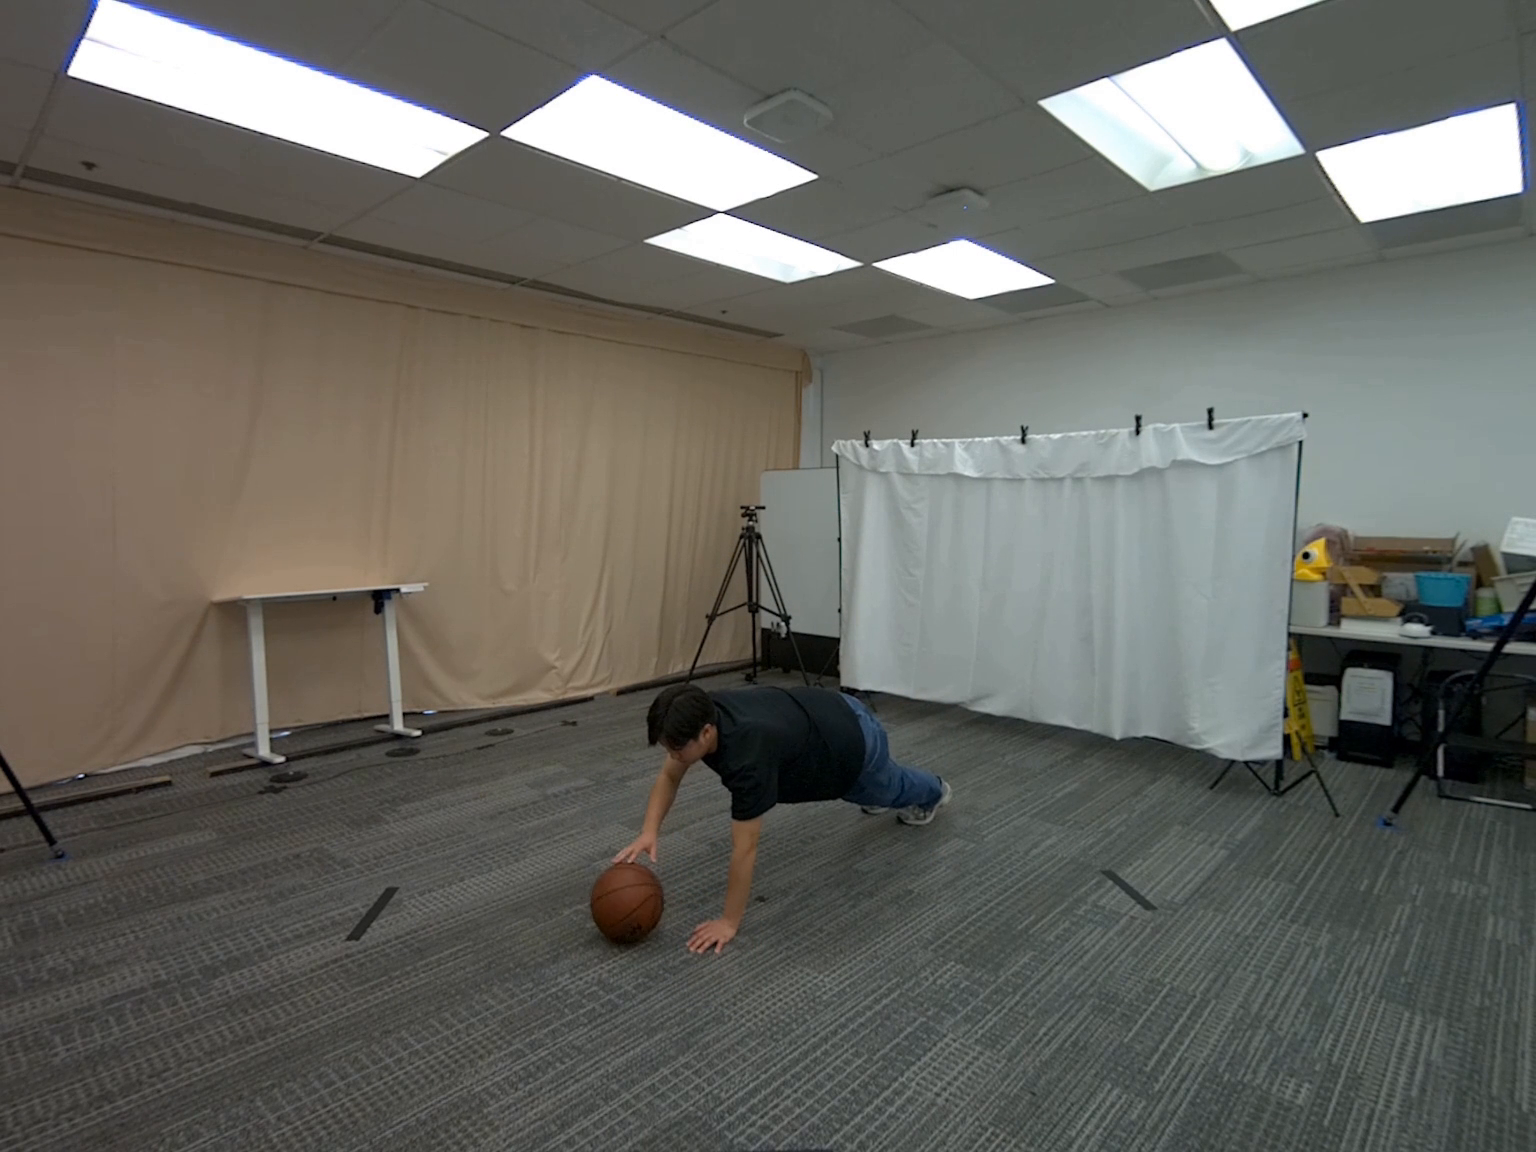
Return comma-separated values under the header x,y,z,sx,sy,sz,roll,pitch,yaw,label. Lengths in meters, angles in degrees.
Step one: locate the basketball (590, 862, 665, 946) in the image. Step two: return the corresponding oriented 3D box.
x,y,z,sx,sy,sz,roll,pitch,yaw,label
-0.454,1.046,2.713,0.236,0.235,0.237,0,4,-2,basketball
